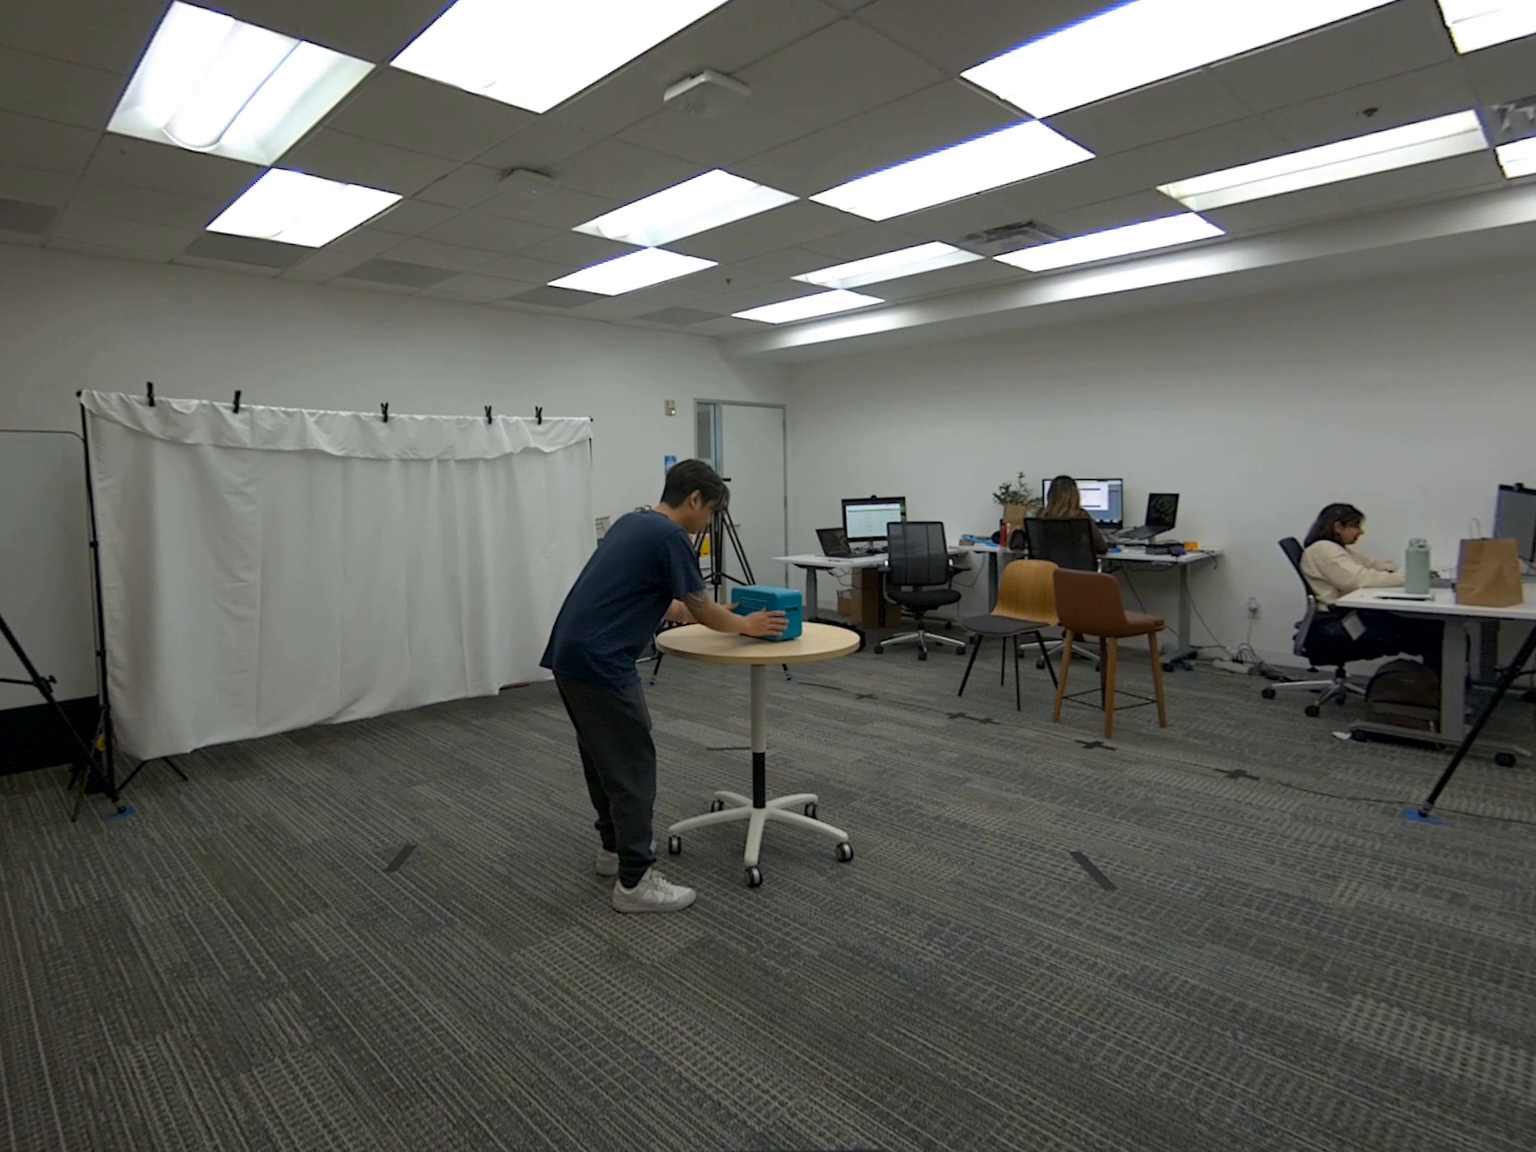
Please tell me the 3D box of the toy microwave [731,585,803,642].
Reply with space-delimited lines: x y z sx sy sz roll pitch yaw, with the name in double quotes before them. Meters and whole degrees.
"toy microwave" -0.001 0.136 3.234 0.148 0.183 0.295 -3 6 -37
